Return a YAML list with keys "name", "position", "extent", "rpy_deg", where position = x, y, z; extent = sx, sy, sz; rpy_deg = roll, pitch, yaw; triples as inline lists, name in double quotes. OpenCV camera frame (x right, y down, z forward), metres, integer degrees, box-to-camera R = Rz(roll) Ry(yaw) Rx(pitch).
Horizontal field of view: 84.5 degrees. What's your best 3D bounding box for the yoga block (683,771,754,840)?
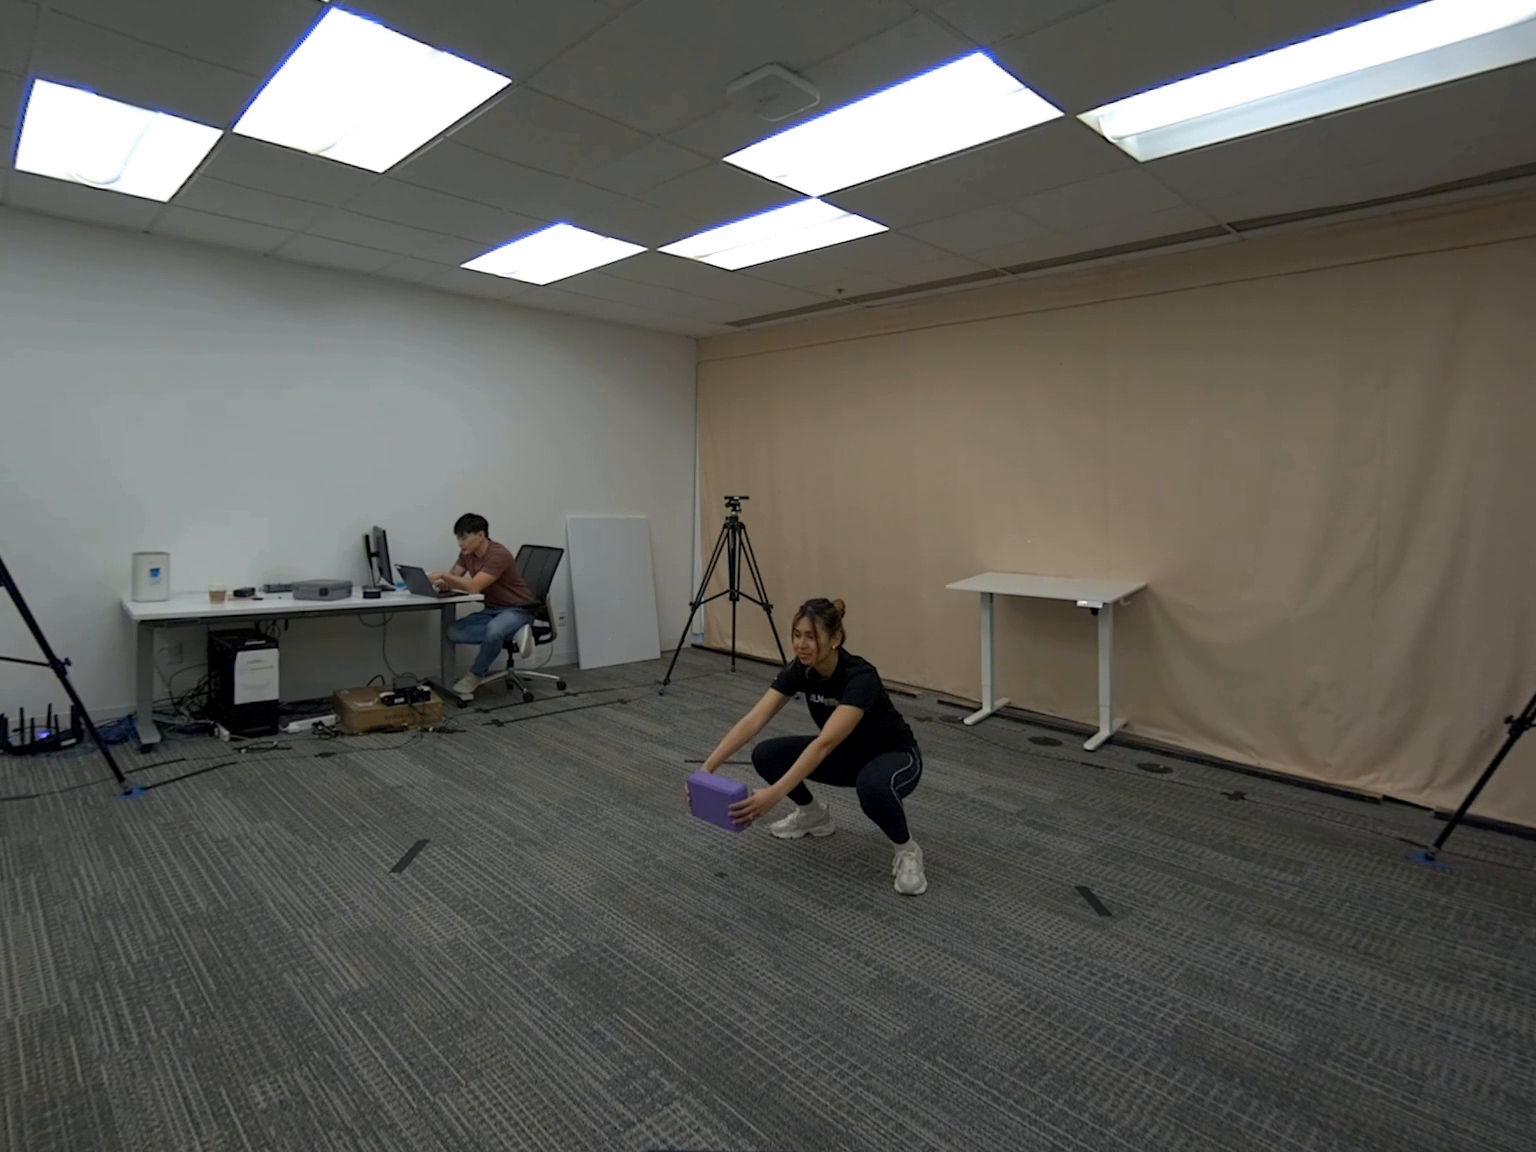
- name: "yoga block"
  position: [-0.167, 0.757, 2.811]
  extent: [0.235, 0.148, 0.075]
  rpy_deg: [4, 15, 43]
